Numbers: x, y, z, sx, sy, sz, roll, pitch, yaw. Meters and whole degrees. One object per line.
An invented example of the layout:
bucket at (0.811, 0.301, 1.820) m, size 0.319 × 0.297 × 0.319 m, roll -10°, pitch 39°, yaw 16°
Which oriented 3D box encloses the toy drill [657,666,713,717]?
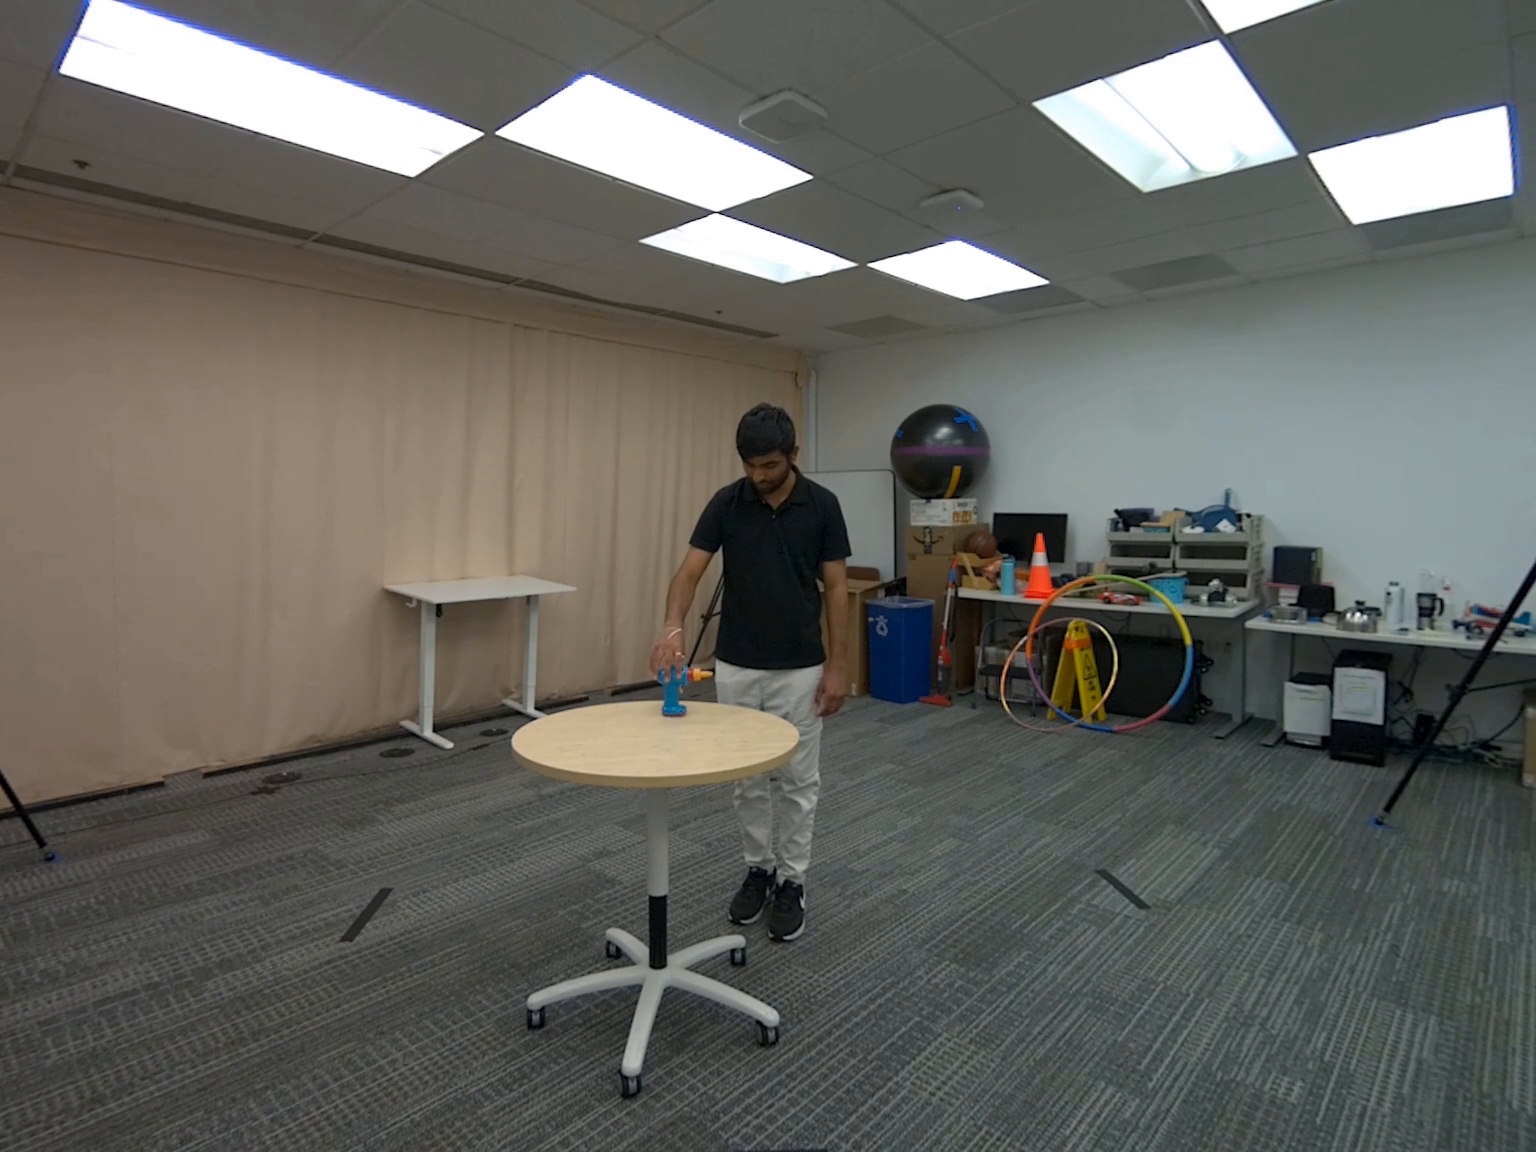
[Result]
toy drill at (-0.235, 0.329, 2.438) m, size 0.171 × 0.145 × 0.061 m, roll -3°, pitch 7°, yaw 5°
